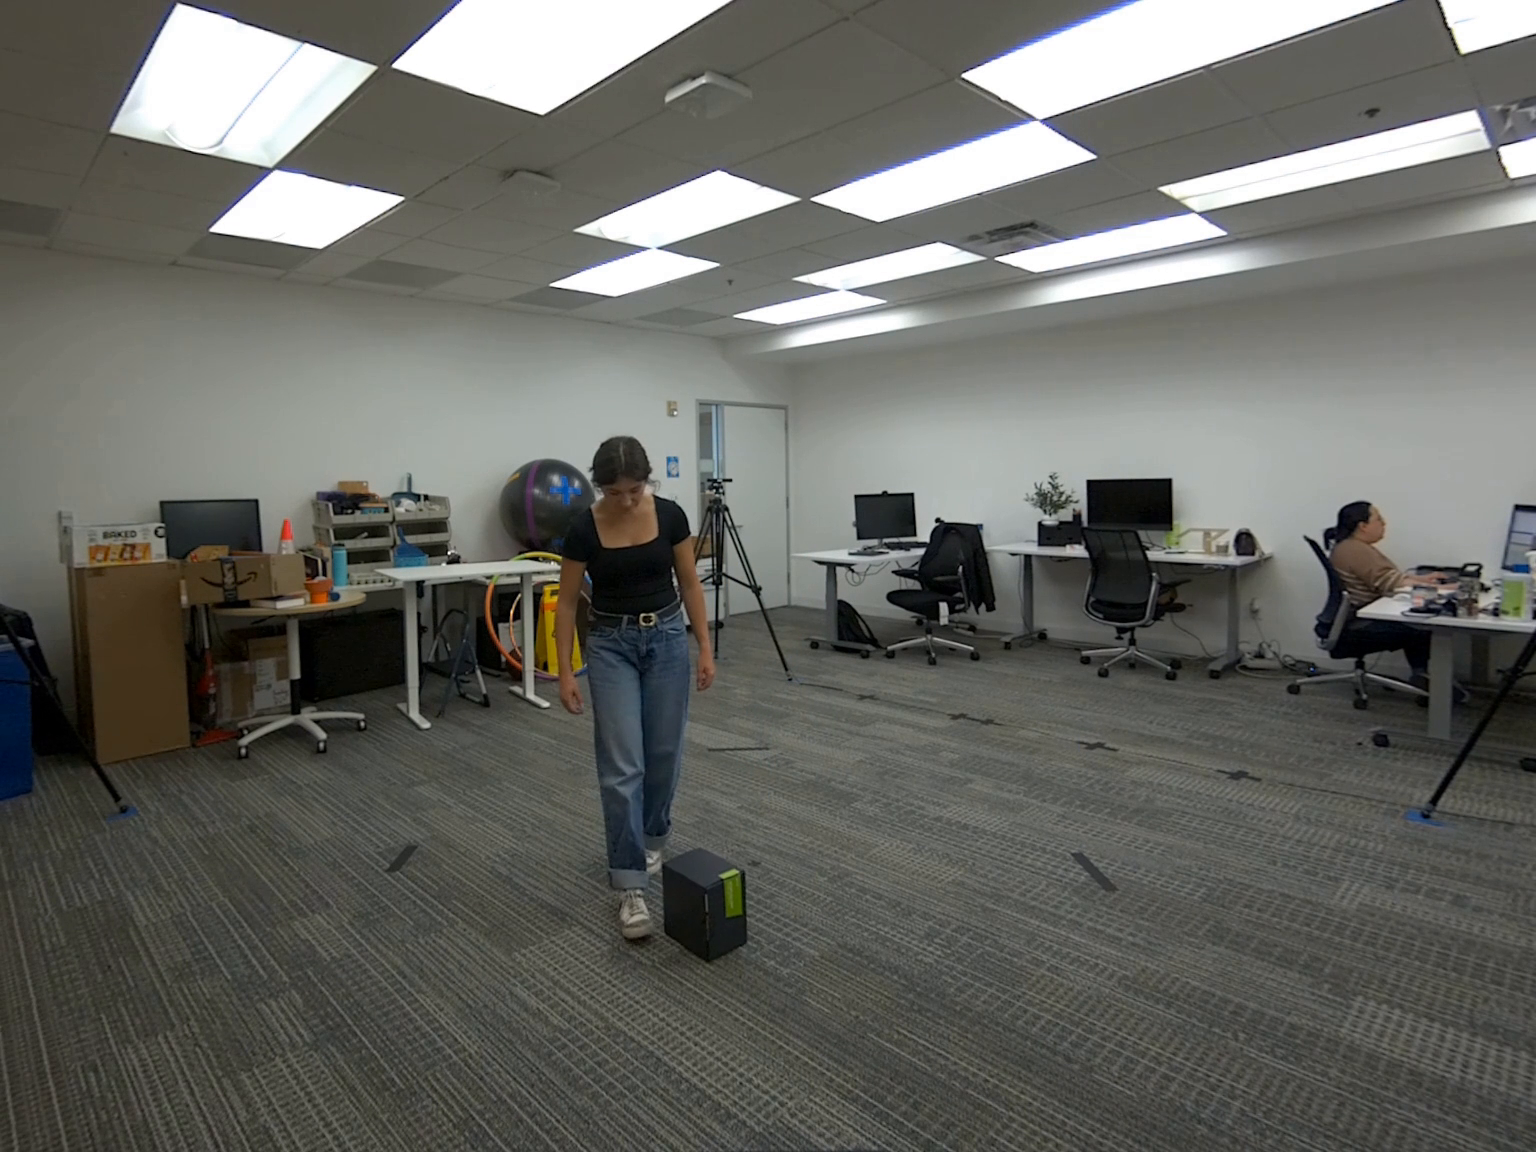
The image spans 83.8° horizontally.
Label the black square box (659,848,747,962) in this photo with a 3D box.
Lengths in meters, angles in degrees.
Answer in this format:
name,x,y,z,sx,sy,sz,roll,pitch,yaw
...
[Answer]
name,x,y,z,sx,sy,sz,roll,pitch,yaw
black square box,-0.200,0.987,2.597,0.152,0.227,0.224,-6,8,-42
